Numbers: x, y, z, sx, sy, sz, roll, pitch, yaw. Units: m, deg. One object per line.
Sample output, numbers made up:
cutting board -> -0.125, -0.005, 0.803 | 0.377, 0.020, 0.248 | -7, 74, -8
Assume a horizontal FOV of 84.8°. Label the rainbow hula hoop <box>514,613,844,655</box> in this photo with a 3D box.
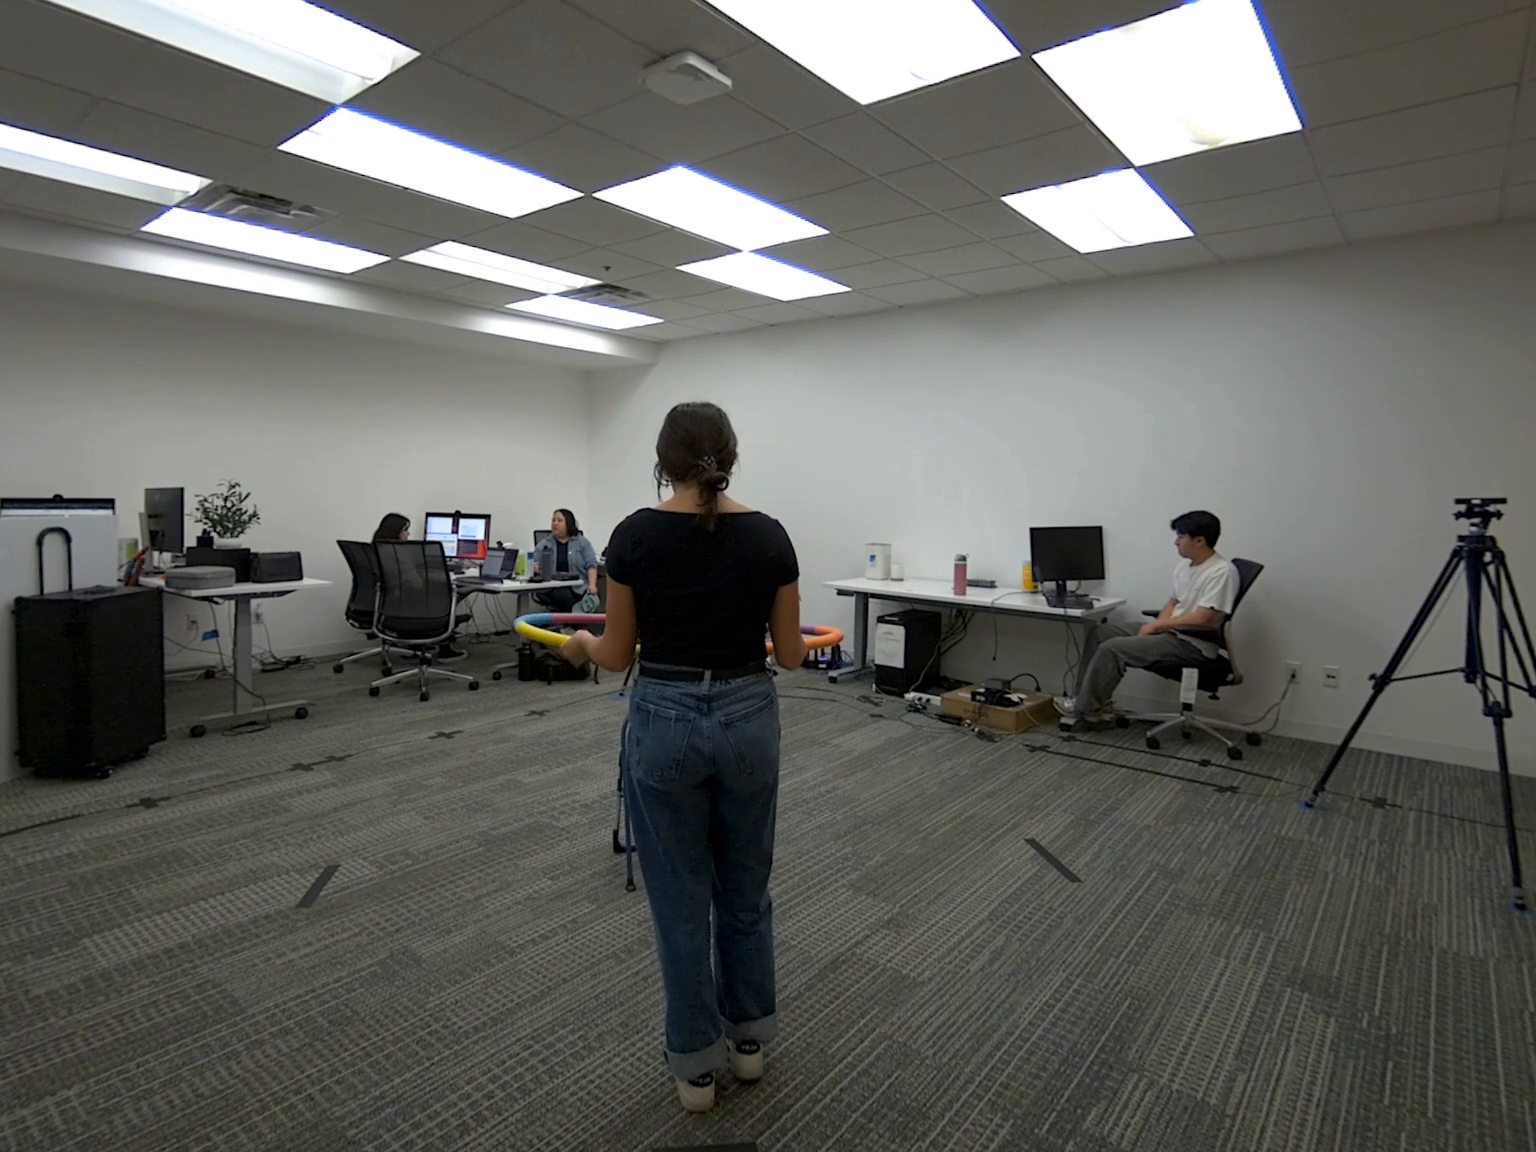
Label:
rainbow hula hoop -> -0.275, 0.165, 2.582 | 0.978, 0.035, 0.979 | 2, 1, -2
